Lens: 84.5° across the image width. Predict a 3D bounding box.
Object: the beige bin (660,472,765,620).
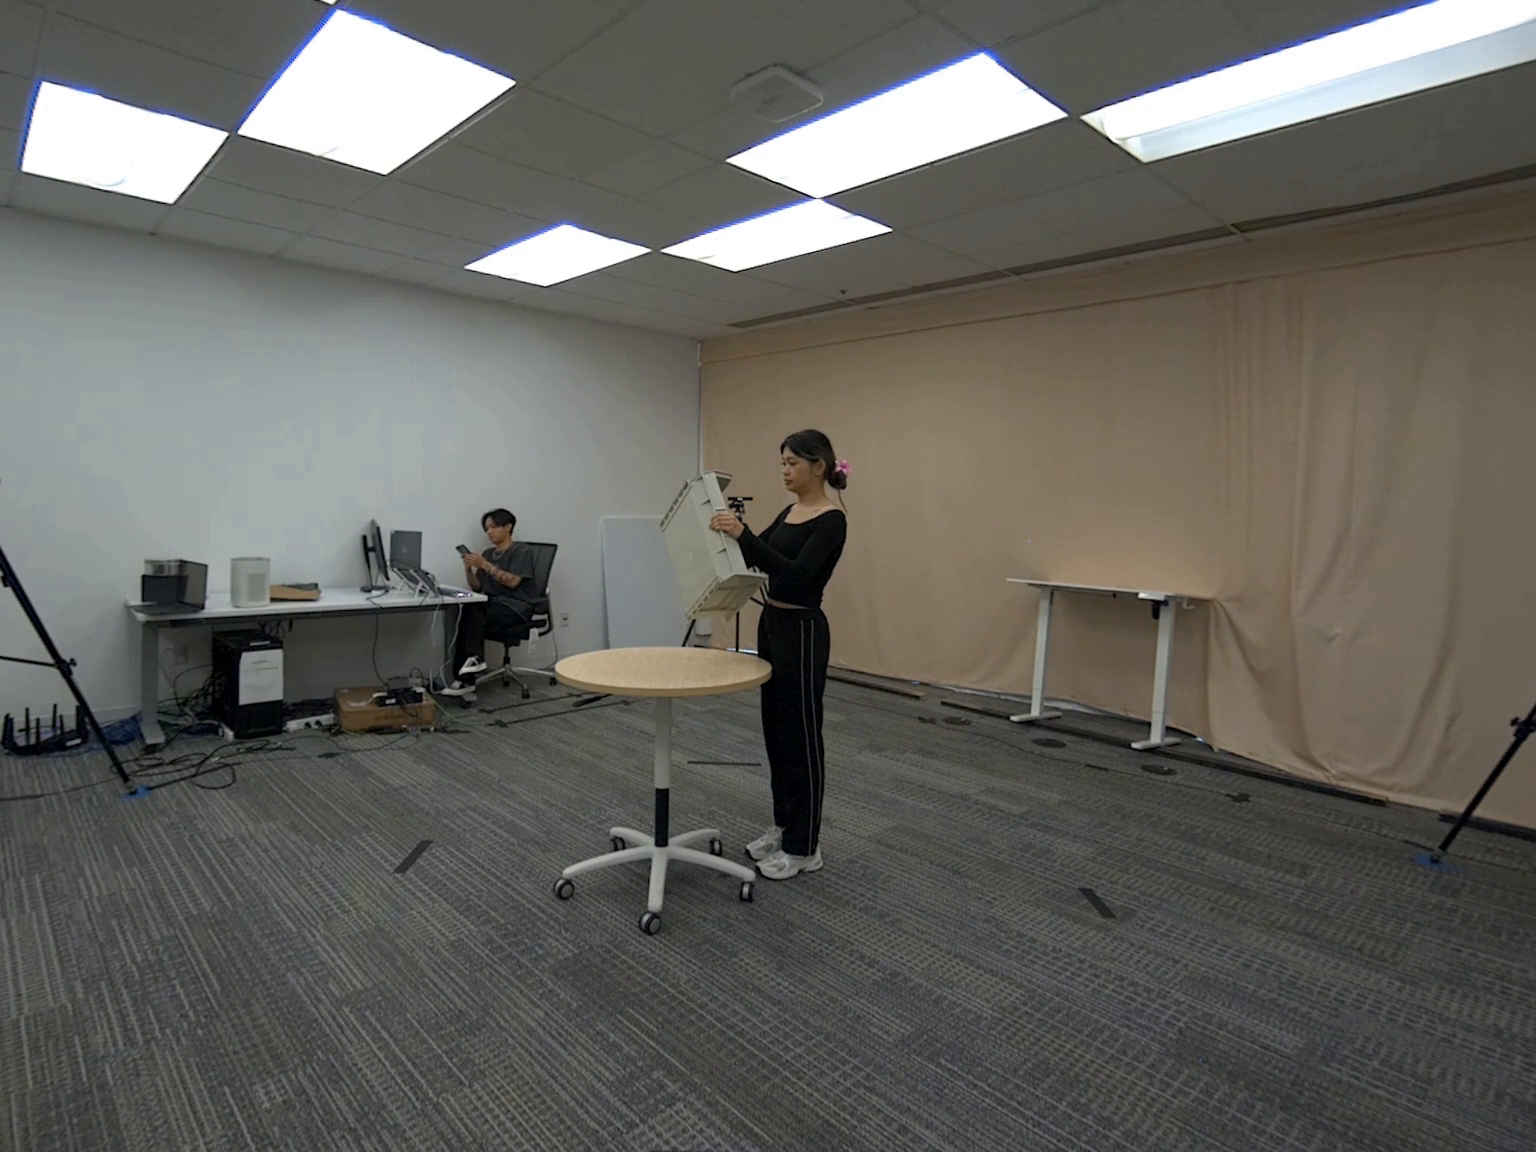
[{"bbox_3d":[-0.193,-0.099,3.009,0.185,0.431,0.377,-4,-26,-32],"label":"beige bin"}]
